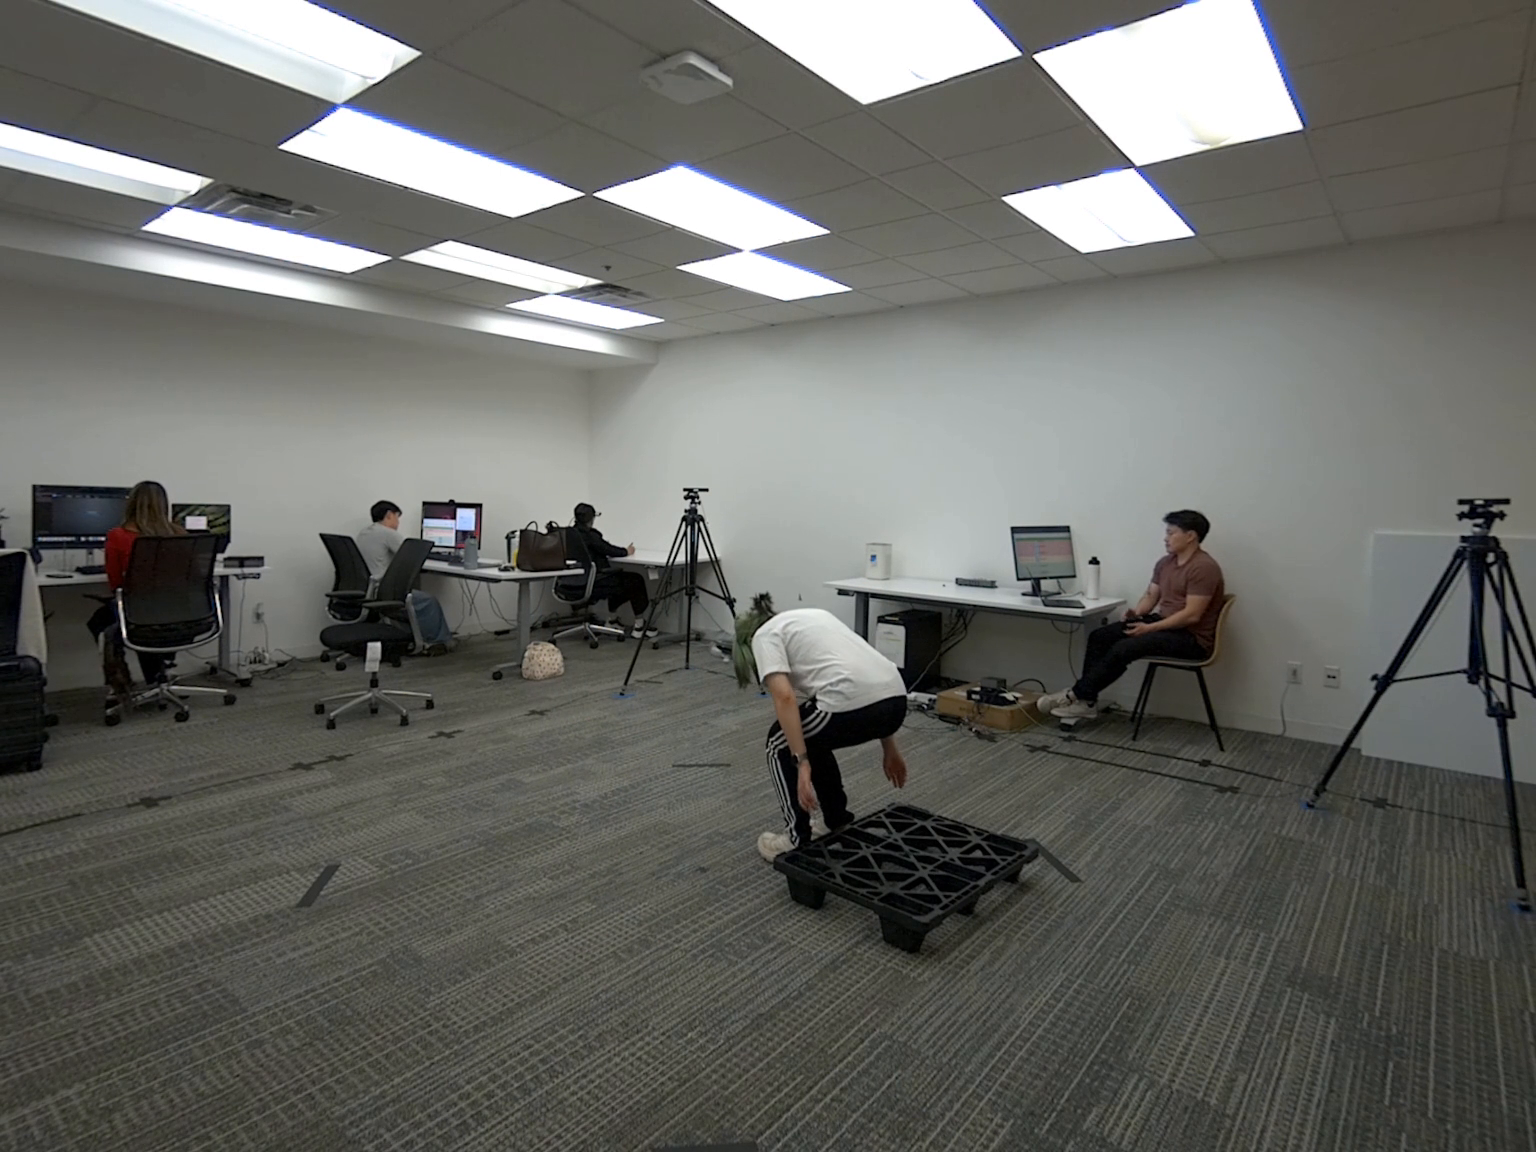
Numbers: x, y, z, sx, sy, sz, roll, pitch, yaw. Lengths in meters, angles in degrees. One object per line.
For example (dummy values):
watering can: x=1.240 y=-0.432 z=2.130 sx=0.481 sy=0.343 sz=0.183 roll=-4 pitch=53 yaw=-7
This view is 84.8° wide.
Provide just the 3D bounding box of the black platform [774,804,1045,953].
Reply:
black platform: x=0.483 y=1.030 z=2.983 sx=0.626 sy=0.143 sz=0.781 roll=6 pitch=7 yaw=42
